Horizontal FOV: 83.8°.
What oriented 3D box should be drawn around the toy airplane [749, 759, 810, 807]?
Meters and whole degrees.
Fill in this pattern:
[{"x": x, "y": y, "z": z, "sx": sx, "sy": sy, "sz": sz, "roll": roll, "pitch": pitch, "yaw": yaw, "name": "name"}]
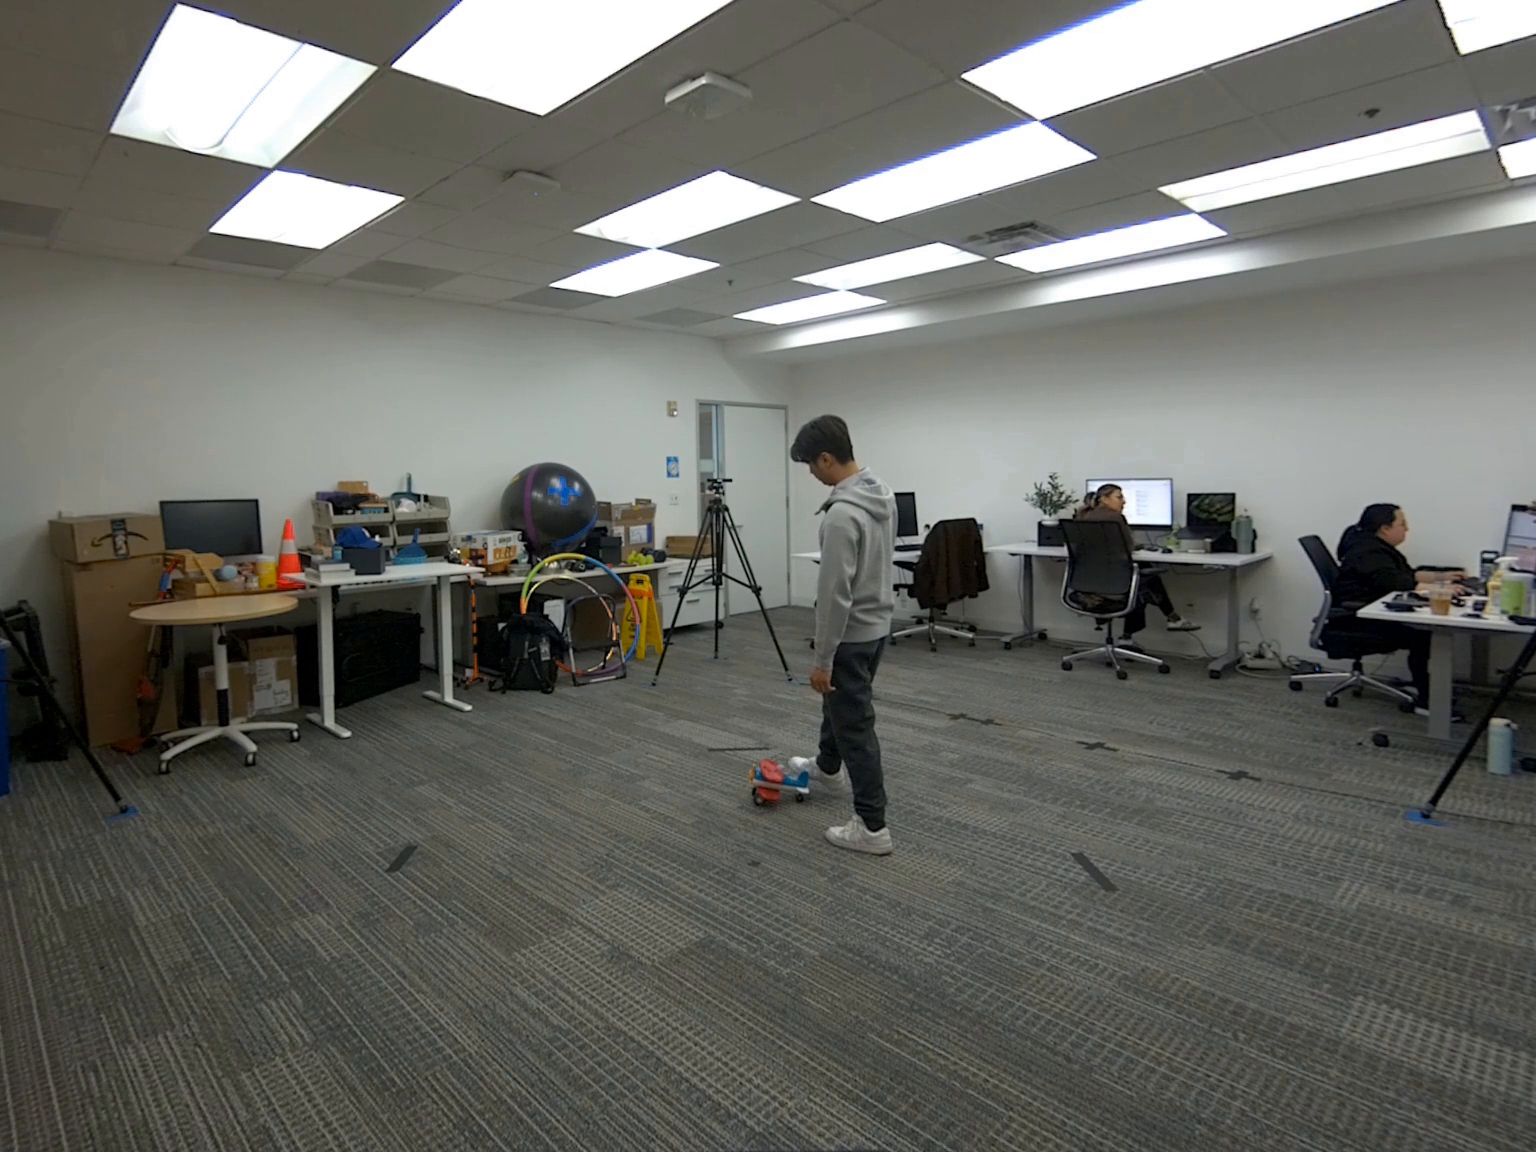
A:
[{"x": 0.046, "y": 0.901, "z": 3.720, "sx": 0.253, "sy": 0.156, "sz": 0.258, "roll": -4, "pitch": 6, "yaw": -31, "name": "toy airplane"}]
